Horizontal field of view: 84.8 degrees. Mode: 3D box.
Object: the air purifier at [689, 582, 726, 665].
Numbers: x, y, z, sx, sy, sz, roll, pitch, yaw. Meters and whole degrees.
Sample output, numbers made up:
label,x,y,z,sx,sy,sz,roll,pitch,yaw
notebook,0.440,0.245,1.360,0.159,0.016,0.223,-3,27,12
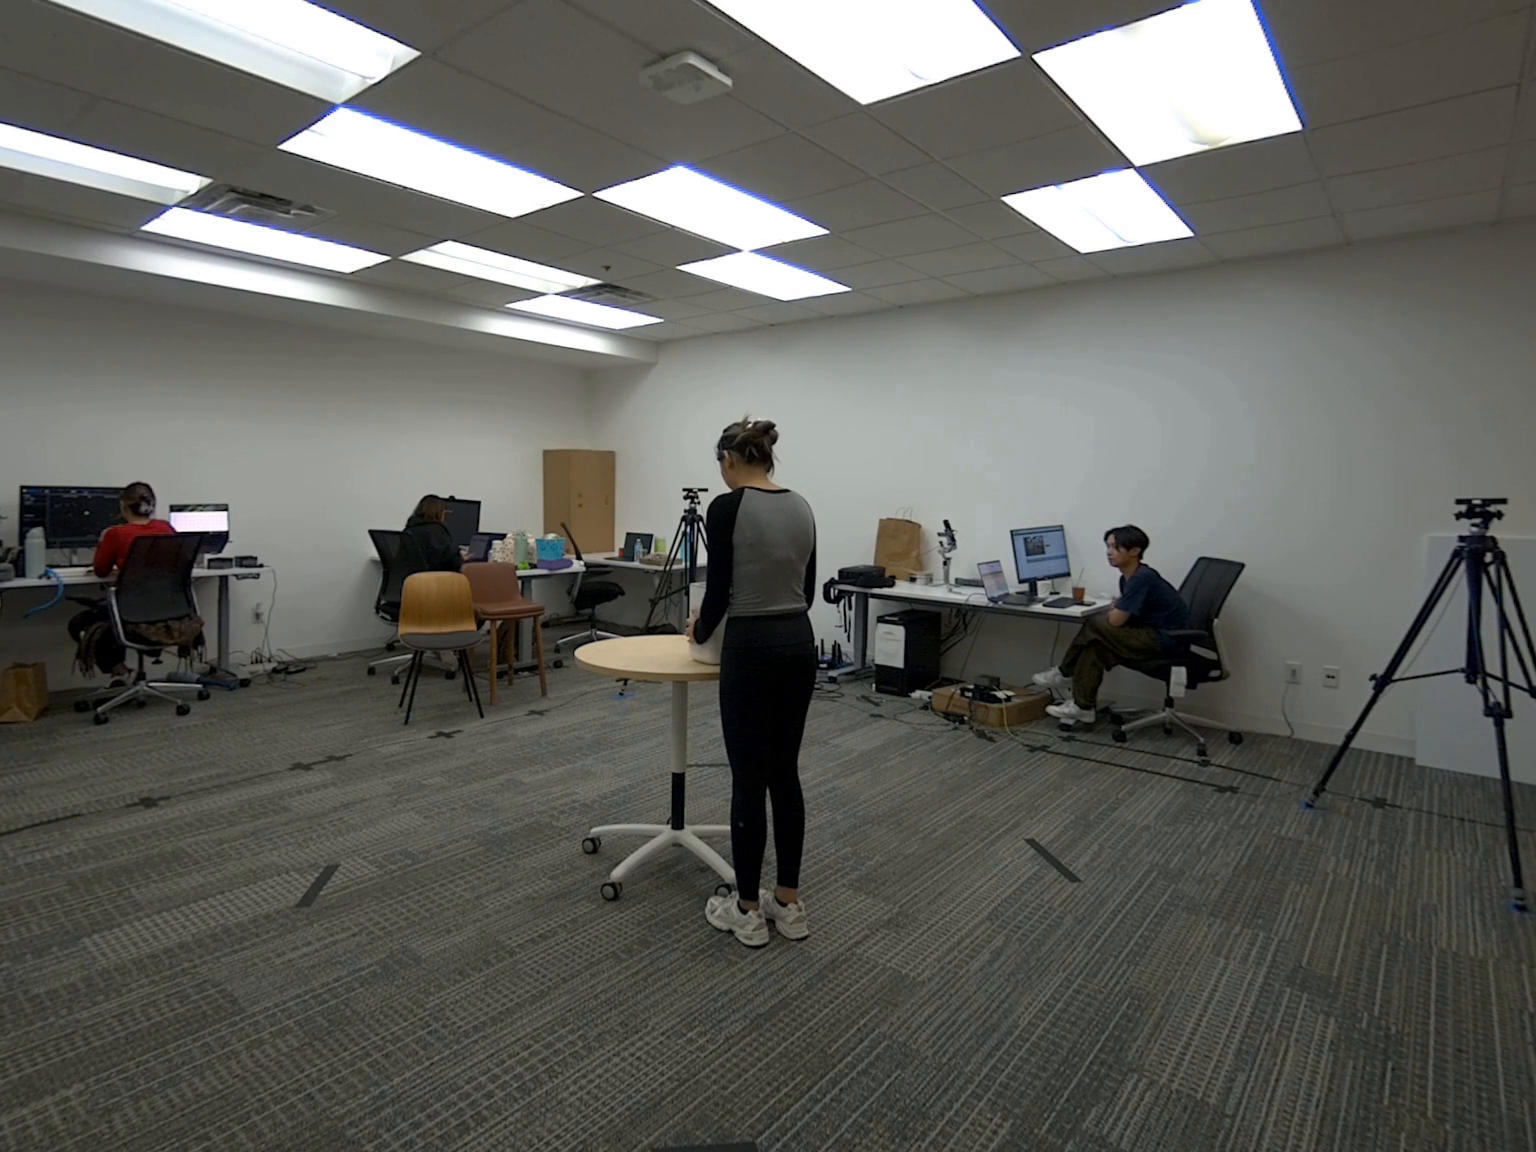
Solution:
label,x,y,z,sx,sy,sz,roll,pitch,yaw
air purifier,-0.176,0.156,2.938,0.167,0.265,0.176,1,3,-31
